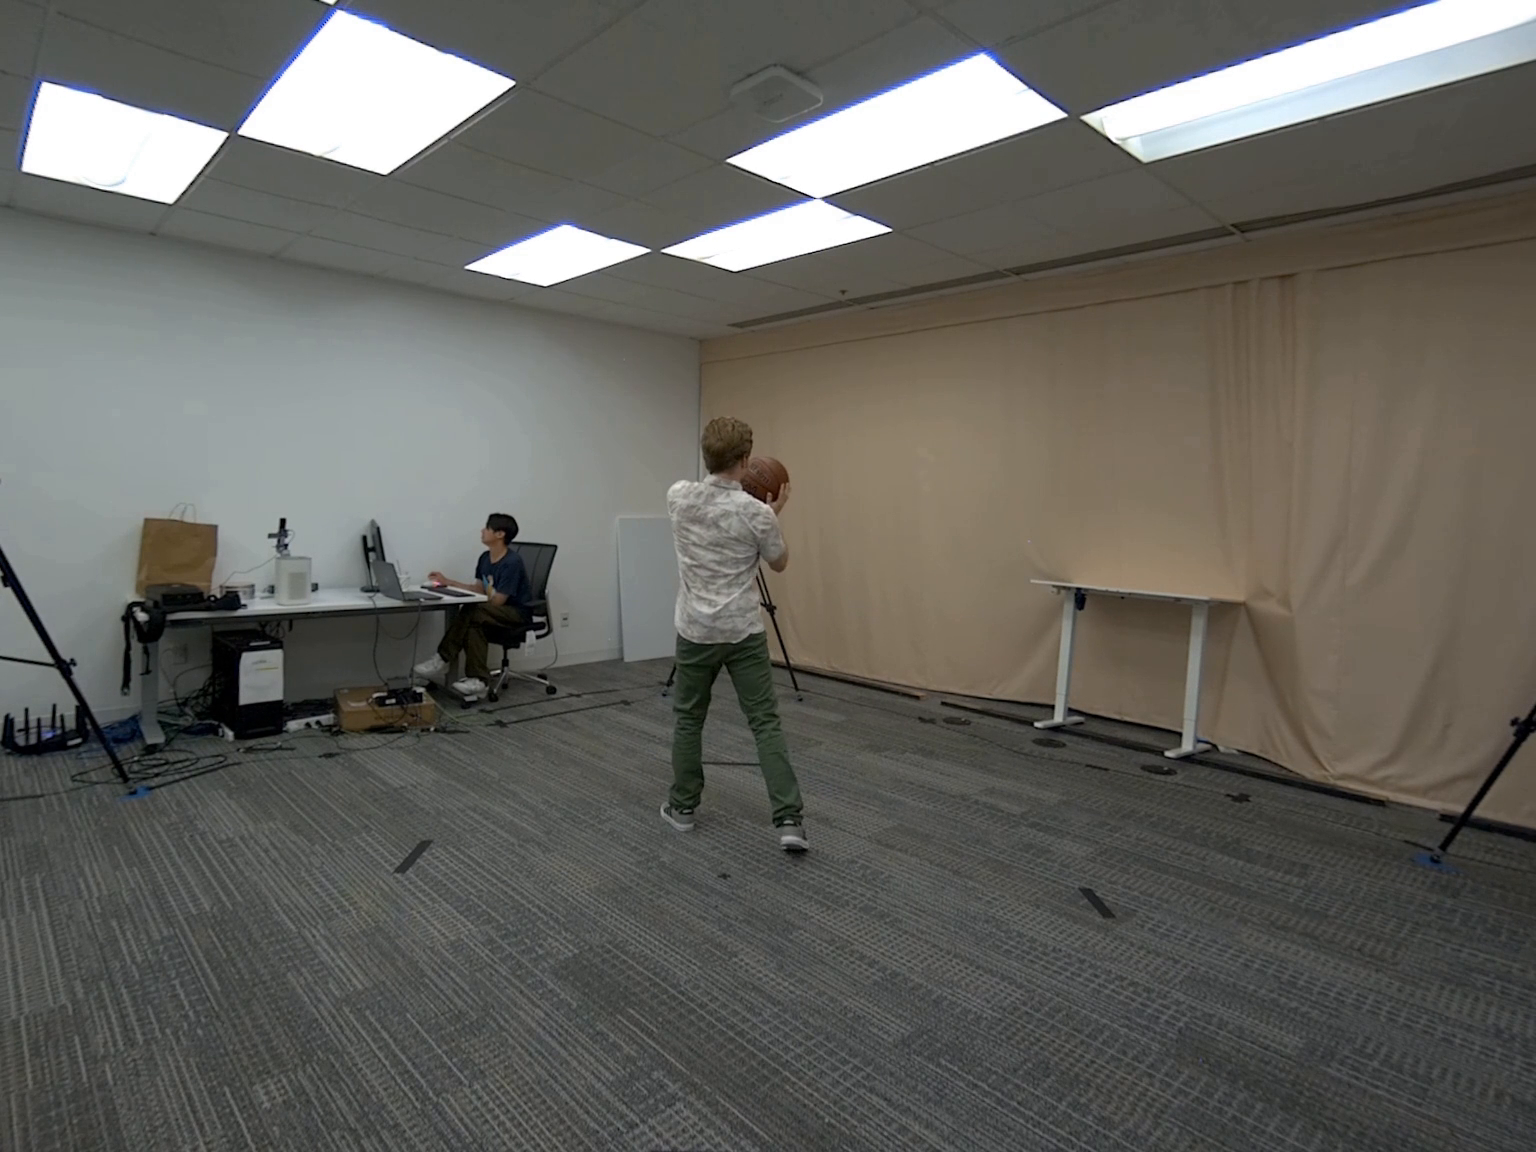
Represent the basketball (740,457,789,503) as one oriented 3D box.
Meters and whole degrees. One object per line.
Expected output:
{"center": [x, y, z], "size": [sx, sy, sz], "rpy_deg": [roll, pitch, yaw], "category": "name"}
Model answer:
{"center": [-0.037, -0.425, 3.808], "size": [0.236, 0.235, 0.237], "rpy_deg": [1, 4, -1], "category": "basketball"}
